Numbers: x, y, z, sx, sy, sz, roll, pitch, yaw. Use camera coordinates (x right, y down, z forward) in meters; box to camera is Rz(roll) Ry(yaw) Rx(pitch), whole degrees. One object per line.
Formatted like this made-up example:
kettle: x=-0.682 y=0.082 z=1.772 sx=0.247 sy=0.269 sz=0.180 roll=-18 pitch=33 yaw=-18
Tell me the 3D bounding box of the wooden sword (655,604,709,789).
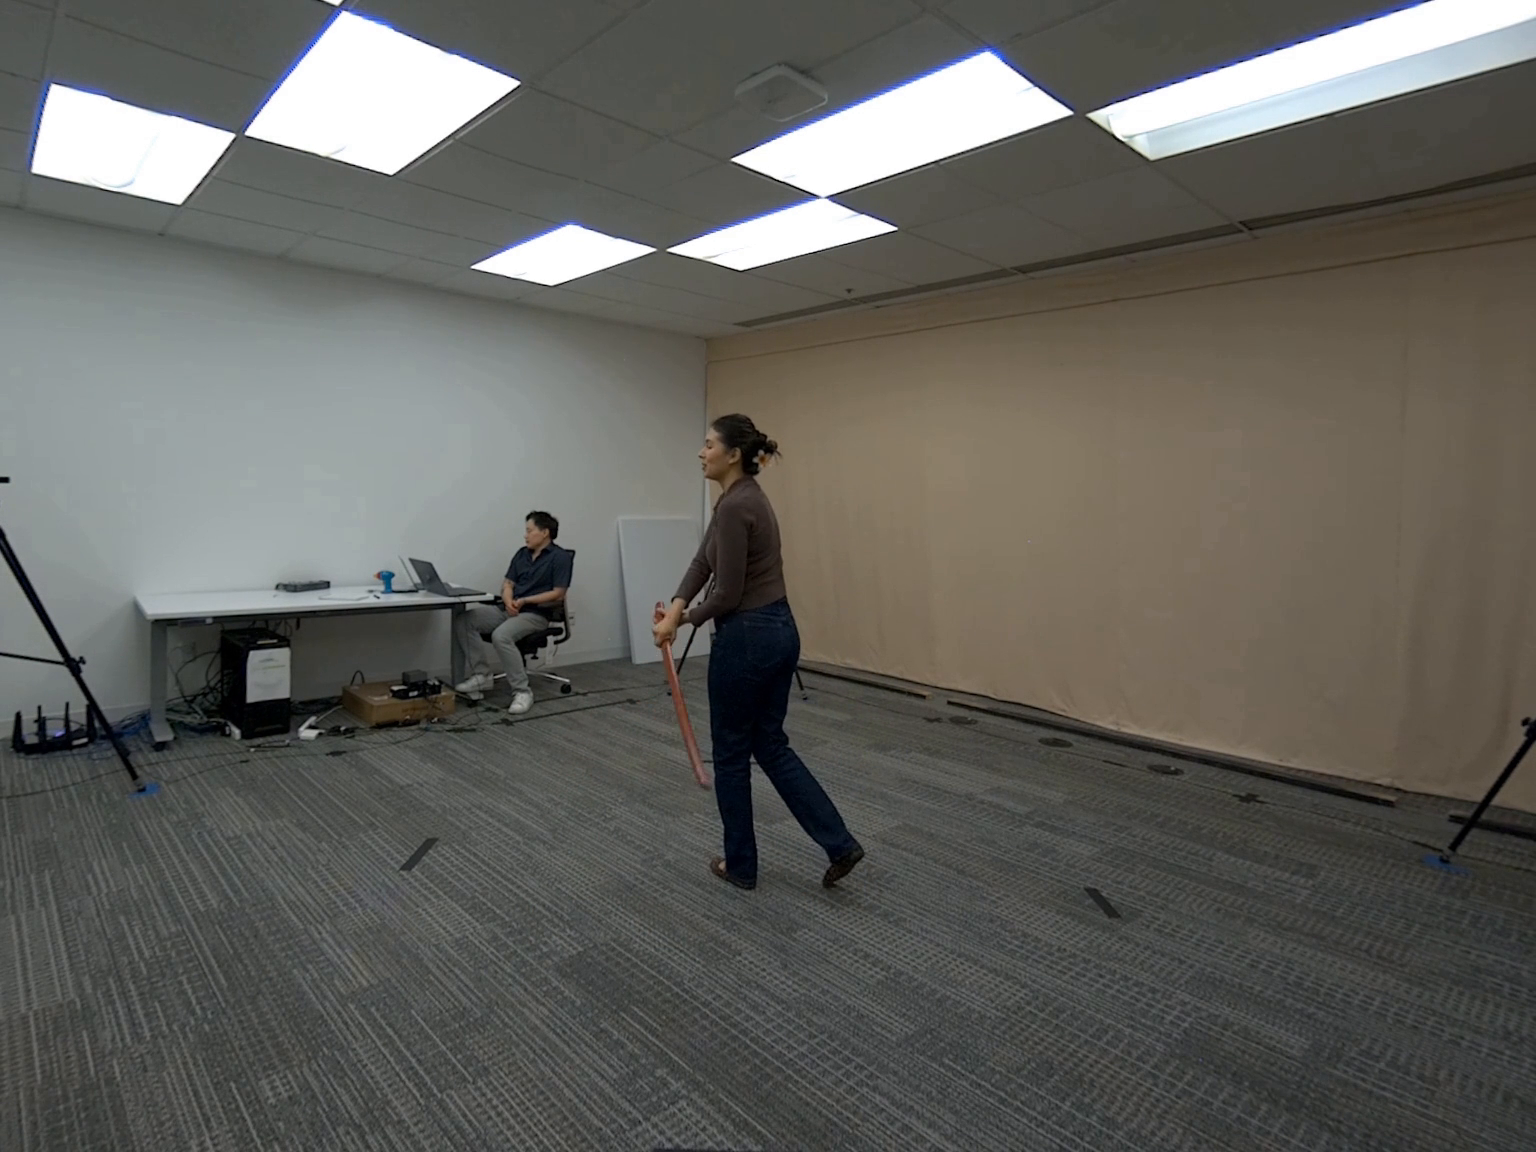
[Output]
wooden sword: x=-0.330 y=0.334 z=2.693 sx=0.051 sy=0.023 sz=1.051 roll=-35 pitch=29 yaw=4
